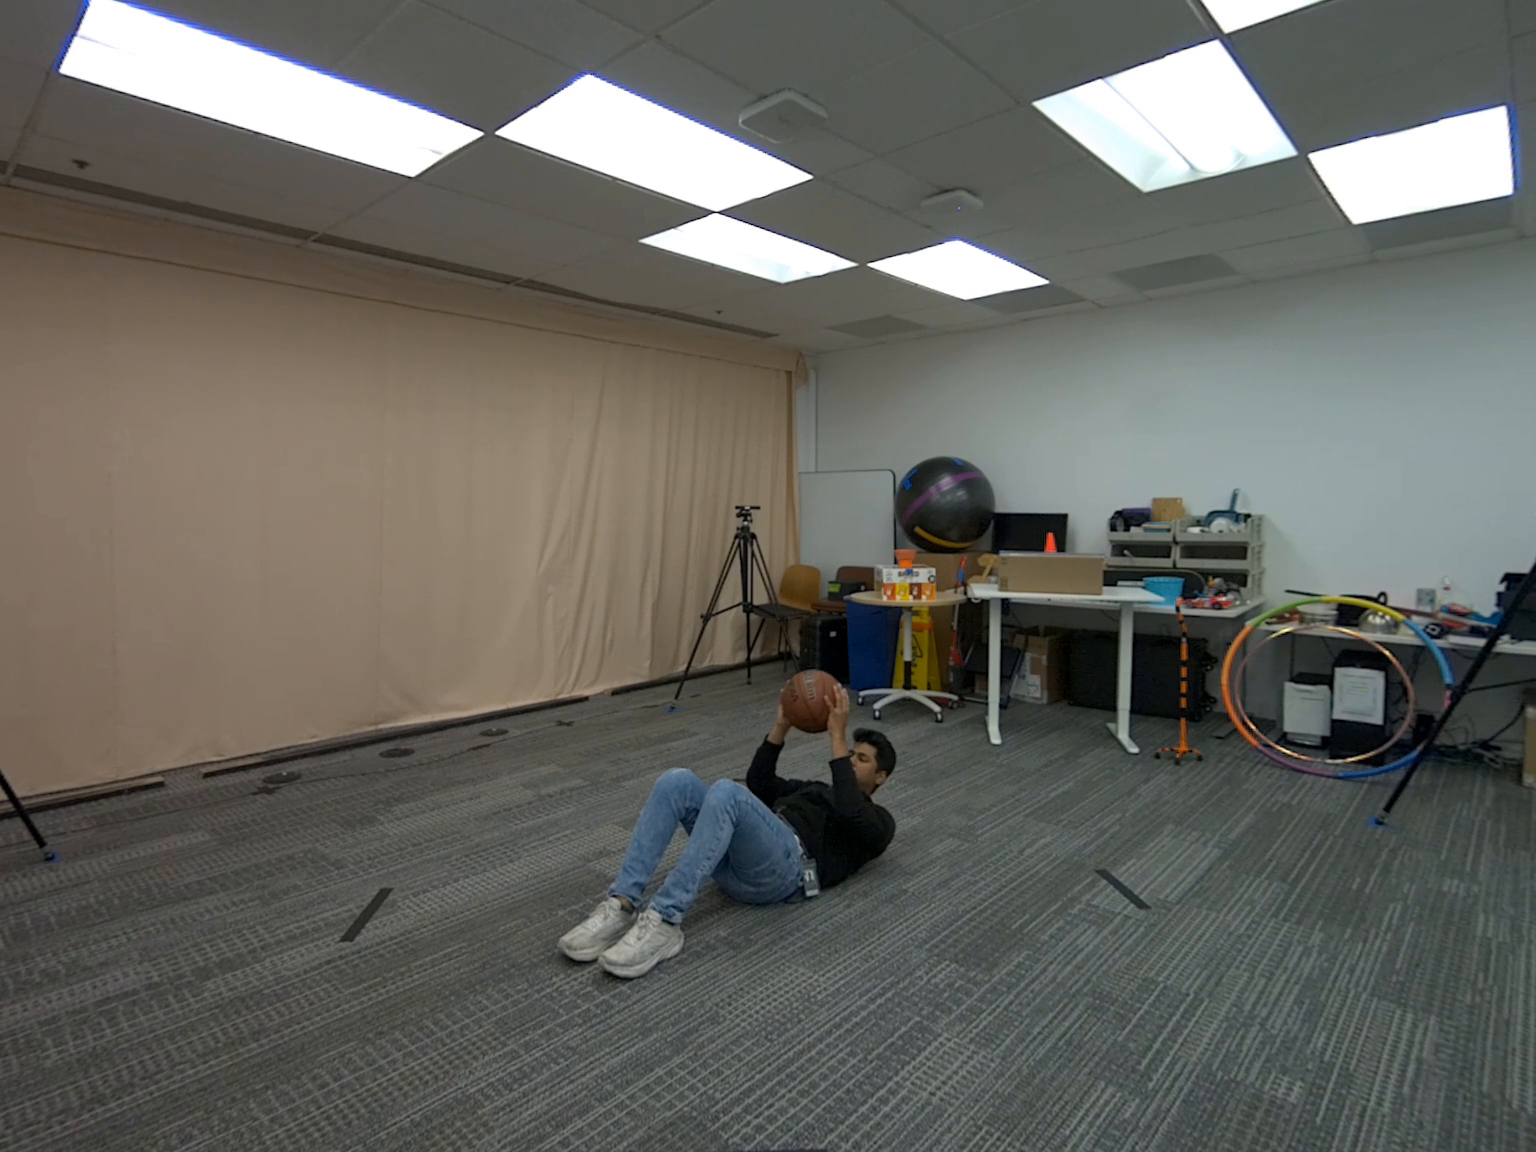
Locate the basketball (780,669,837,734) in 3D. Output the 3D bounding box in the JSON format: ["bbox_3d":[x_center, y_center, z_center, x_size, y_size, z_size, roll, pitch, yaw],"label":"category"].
[{"bbox_3d":[0.180,0.482,3.200,0.236,0.235,0.237,0,4,-2],"label":"basketball"}]
